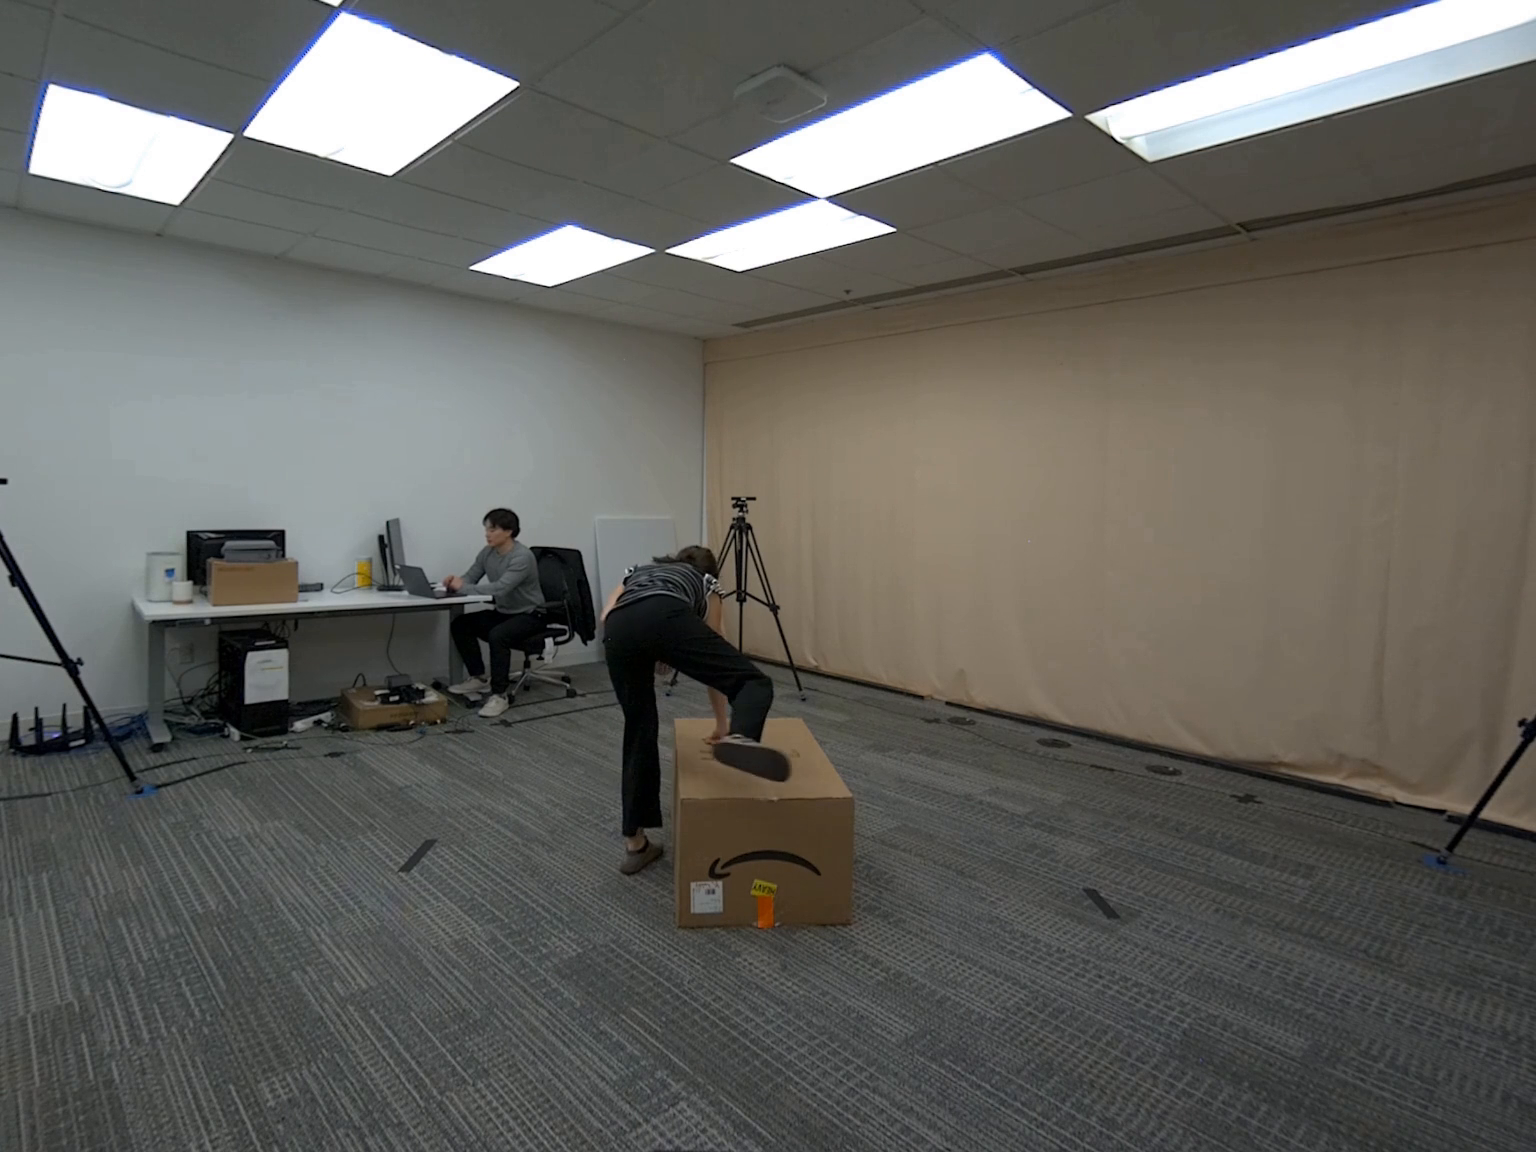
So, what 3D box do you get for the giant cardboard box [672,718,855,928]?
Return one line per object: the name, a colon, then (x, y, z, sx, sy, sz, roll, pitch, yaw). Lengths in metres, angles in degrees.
giant cardboard box: (-0.076, 0.888, 3.231, 0.575, 0.425, 1.033, 1, 5, -7)
